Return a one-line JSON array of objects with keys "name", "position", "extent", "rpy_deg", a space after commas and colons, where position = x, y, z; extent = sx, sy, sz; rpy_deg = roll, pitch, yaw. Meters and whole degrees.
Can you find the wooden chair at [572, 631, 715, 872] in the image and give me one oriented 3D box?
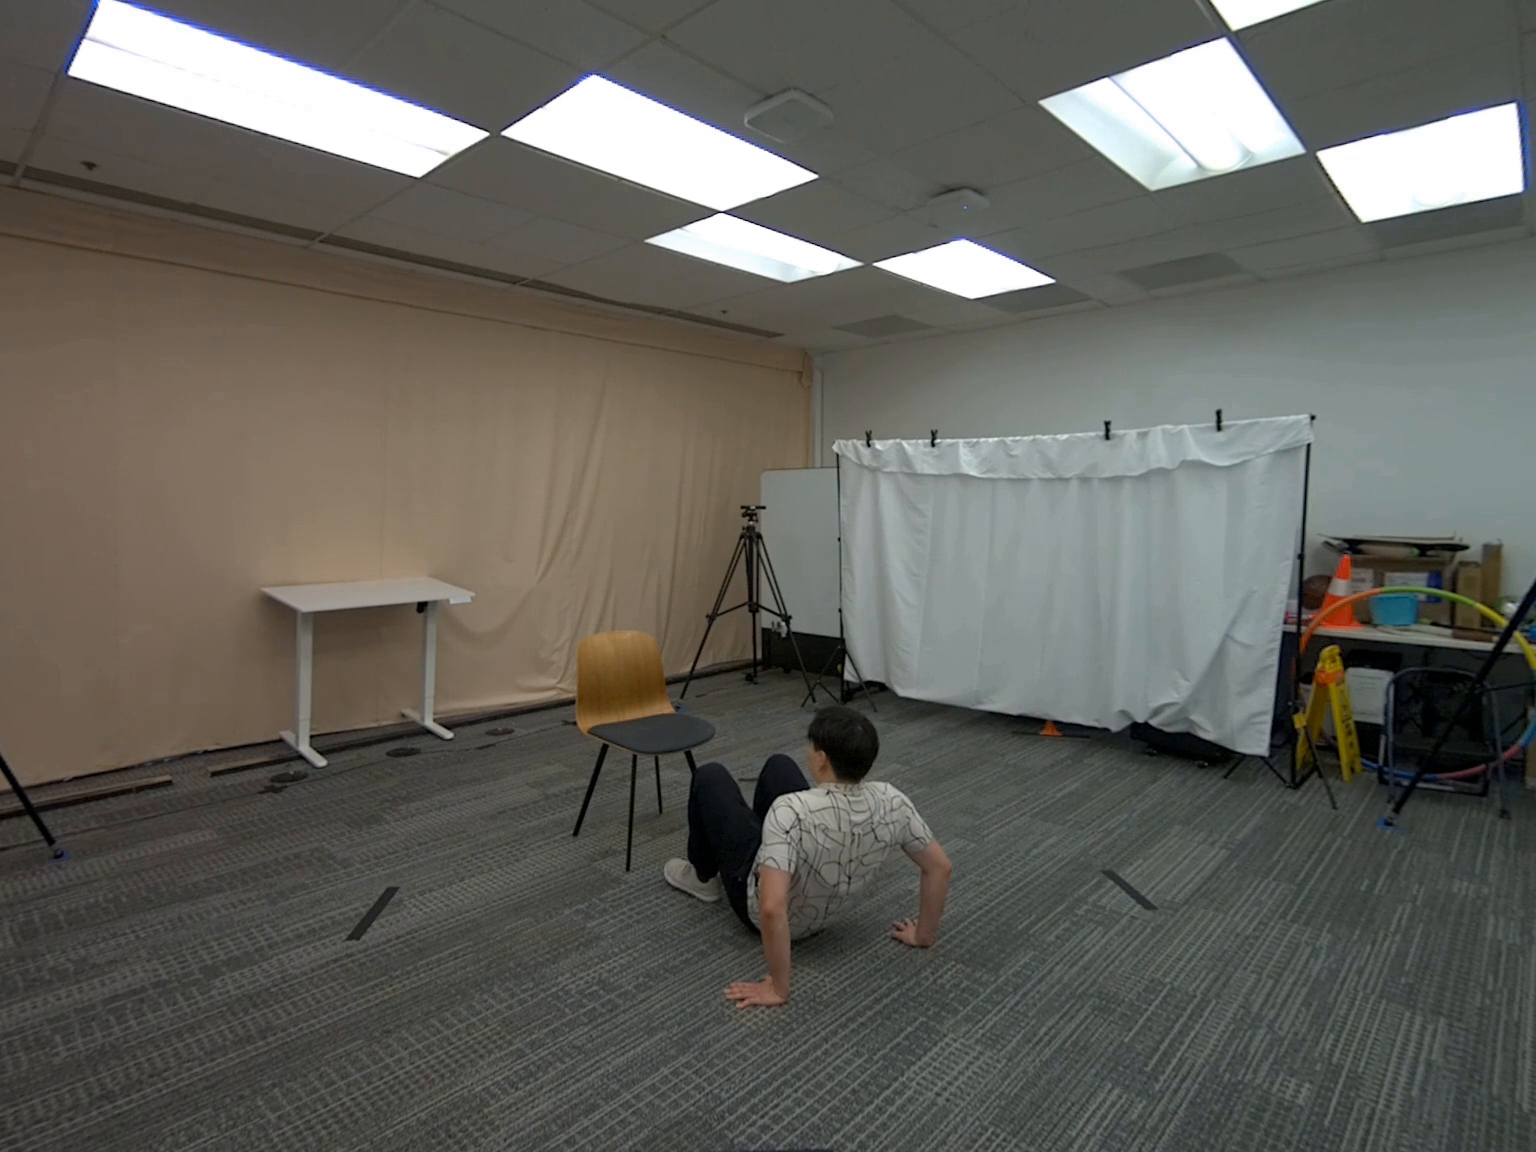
[{"name": "wooden chair", "position": [-0.508, 0.677, 3.492], "extent": [0.464, 0.878, 0.539], "rpy_deg": [-2, -1, -38]}]
